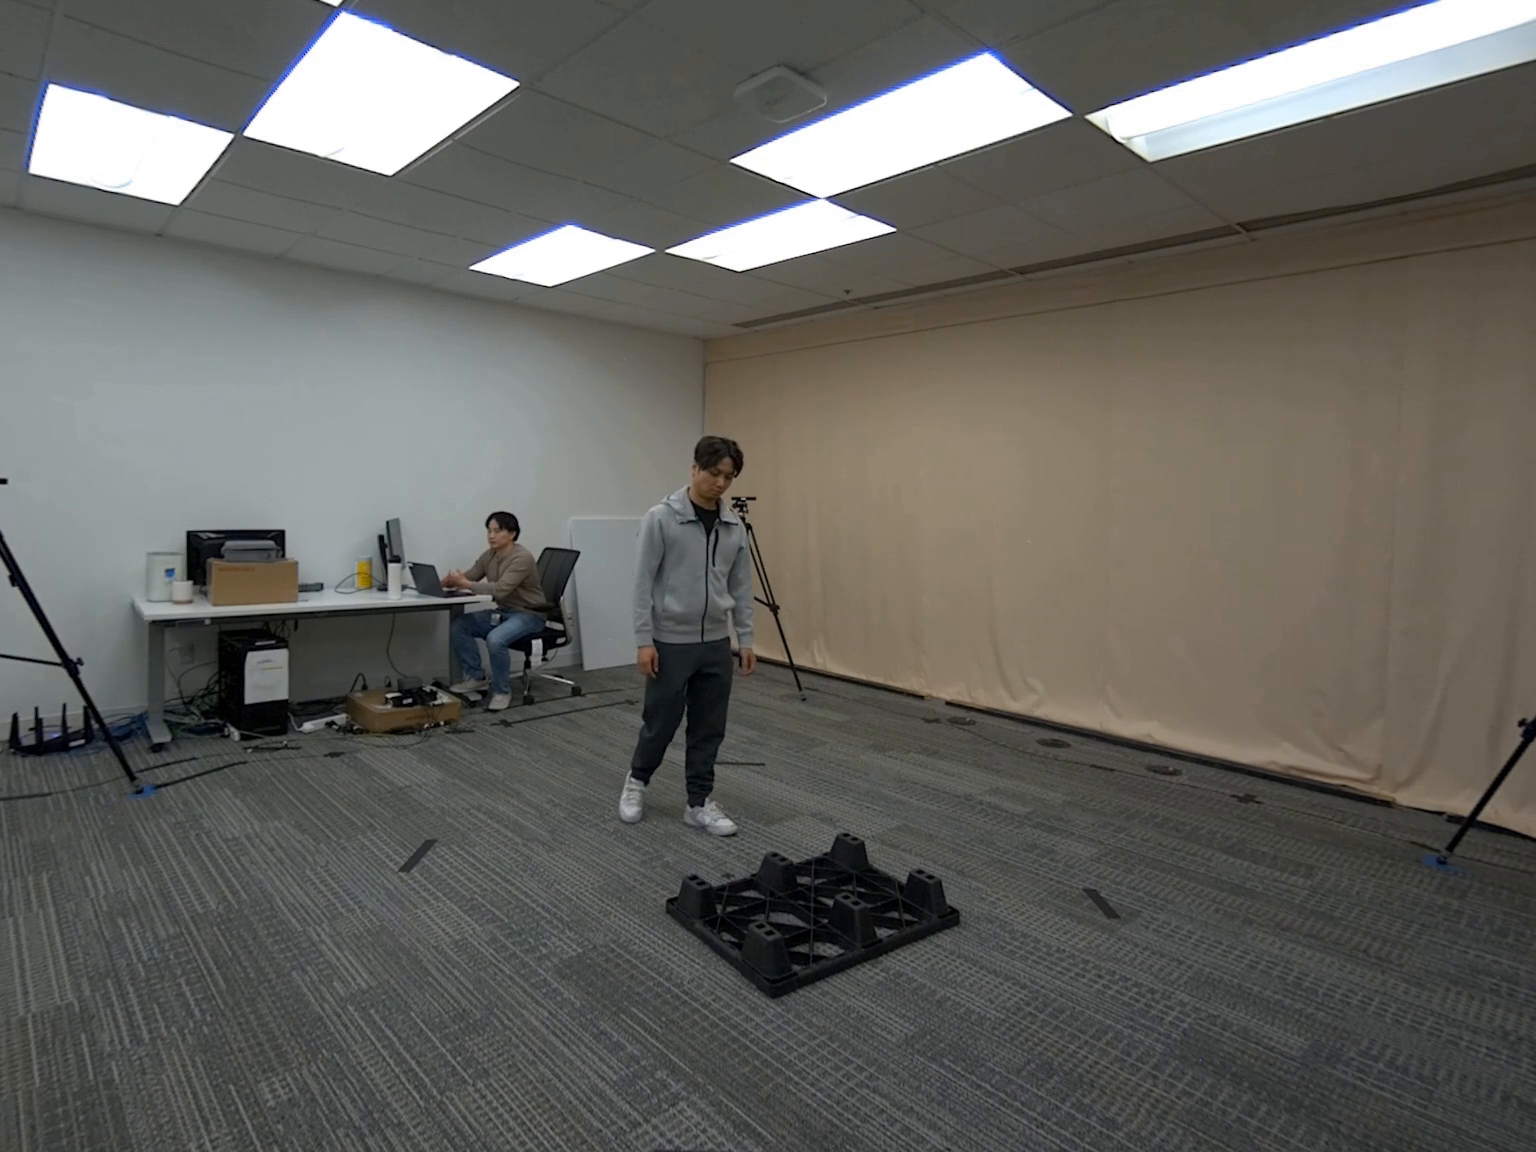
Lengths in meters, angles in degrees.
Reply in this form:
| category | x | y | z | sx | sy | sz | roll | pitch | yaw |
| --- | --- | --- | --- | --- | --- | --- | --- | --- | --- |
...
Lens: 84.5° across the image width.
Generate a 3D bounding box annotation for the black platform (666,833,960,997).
| category | x | y | z | sx | sy | sz | roll | pitch | yaw |
| --- | --- | --- | --- | --- | --- | --- | --- | --- | --- |
| black platform | 0.143 | 1.077 | 2.800 | 0.788 | 0.143 | 0.620 | -3 | 7 | -37 |
